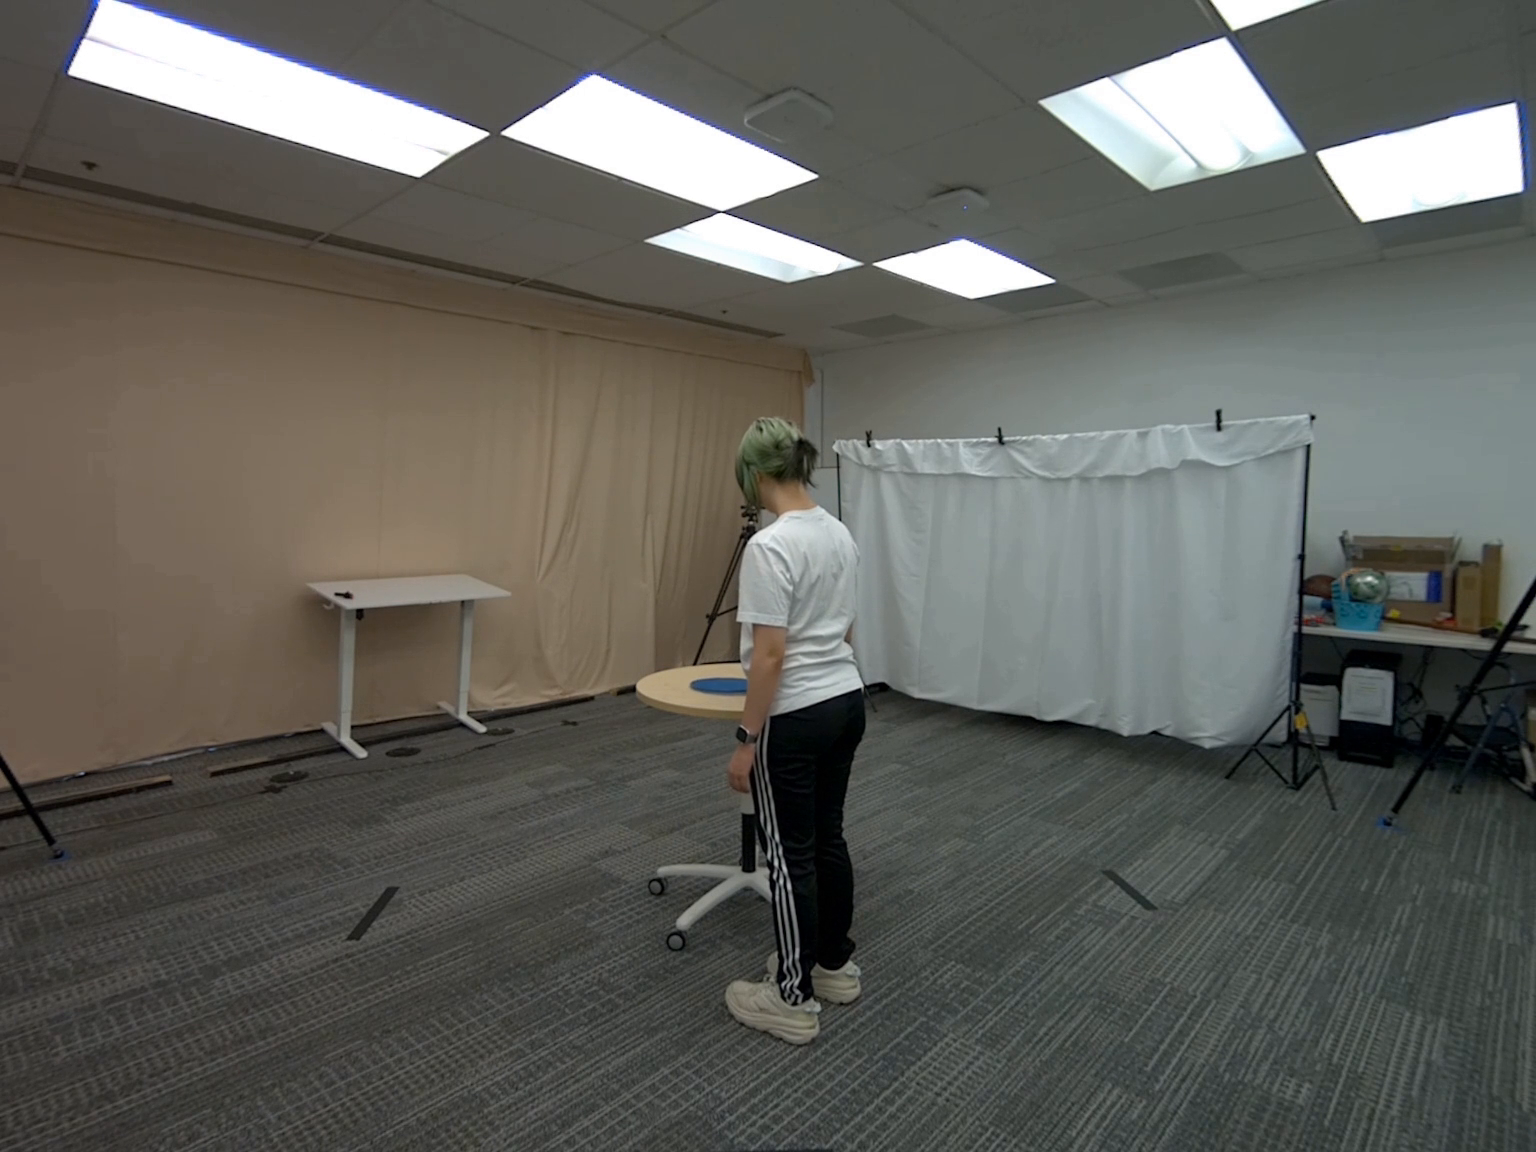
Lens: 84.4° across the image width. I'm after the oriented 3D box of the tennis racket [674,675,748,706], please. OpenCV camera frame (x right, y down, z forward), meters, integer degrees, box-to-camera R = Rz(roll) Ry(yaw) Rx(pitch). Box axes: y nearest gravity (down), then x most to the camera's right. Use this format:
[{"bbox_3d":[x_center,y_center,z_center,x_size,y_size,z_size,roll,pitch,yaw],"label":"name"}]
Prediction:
[{"bbox_3d":[-0.073,0.373,2.738,0.447,0.032,0.207,2,4,40],"label":"tennis racket"}]
